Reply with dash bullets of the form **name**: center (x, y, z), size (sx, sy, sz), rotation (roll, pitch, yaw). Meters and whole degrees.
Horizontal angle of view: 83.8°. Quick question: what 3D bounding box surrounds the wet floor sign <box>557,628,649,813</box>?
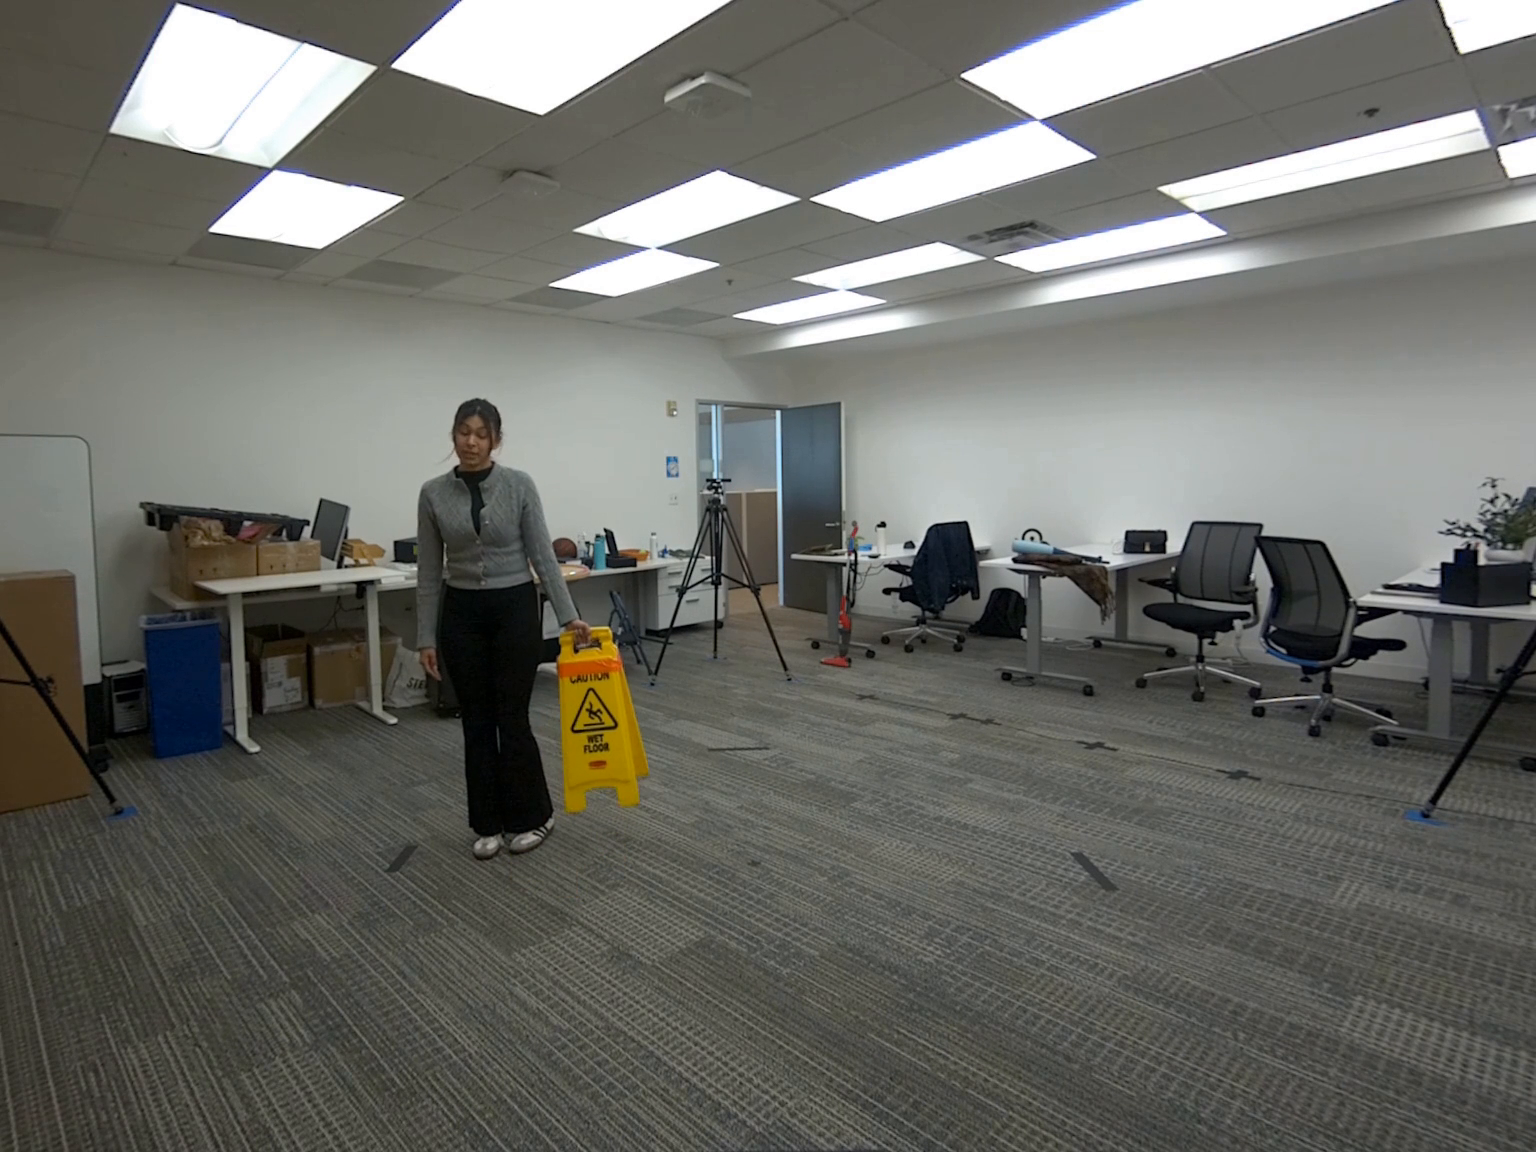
- **wet floor sign**: center (-0.657, 0.524, 3.259), size (0.283, 0.642, 0.291), rotation (-6, 6, 2)
